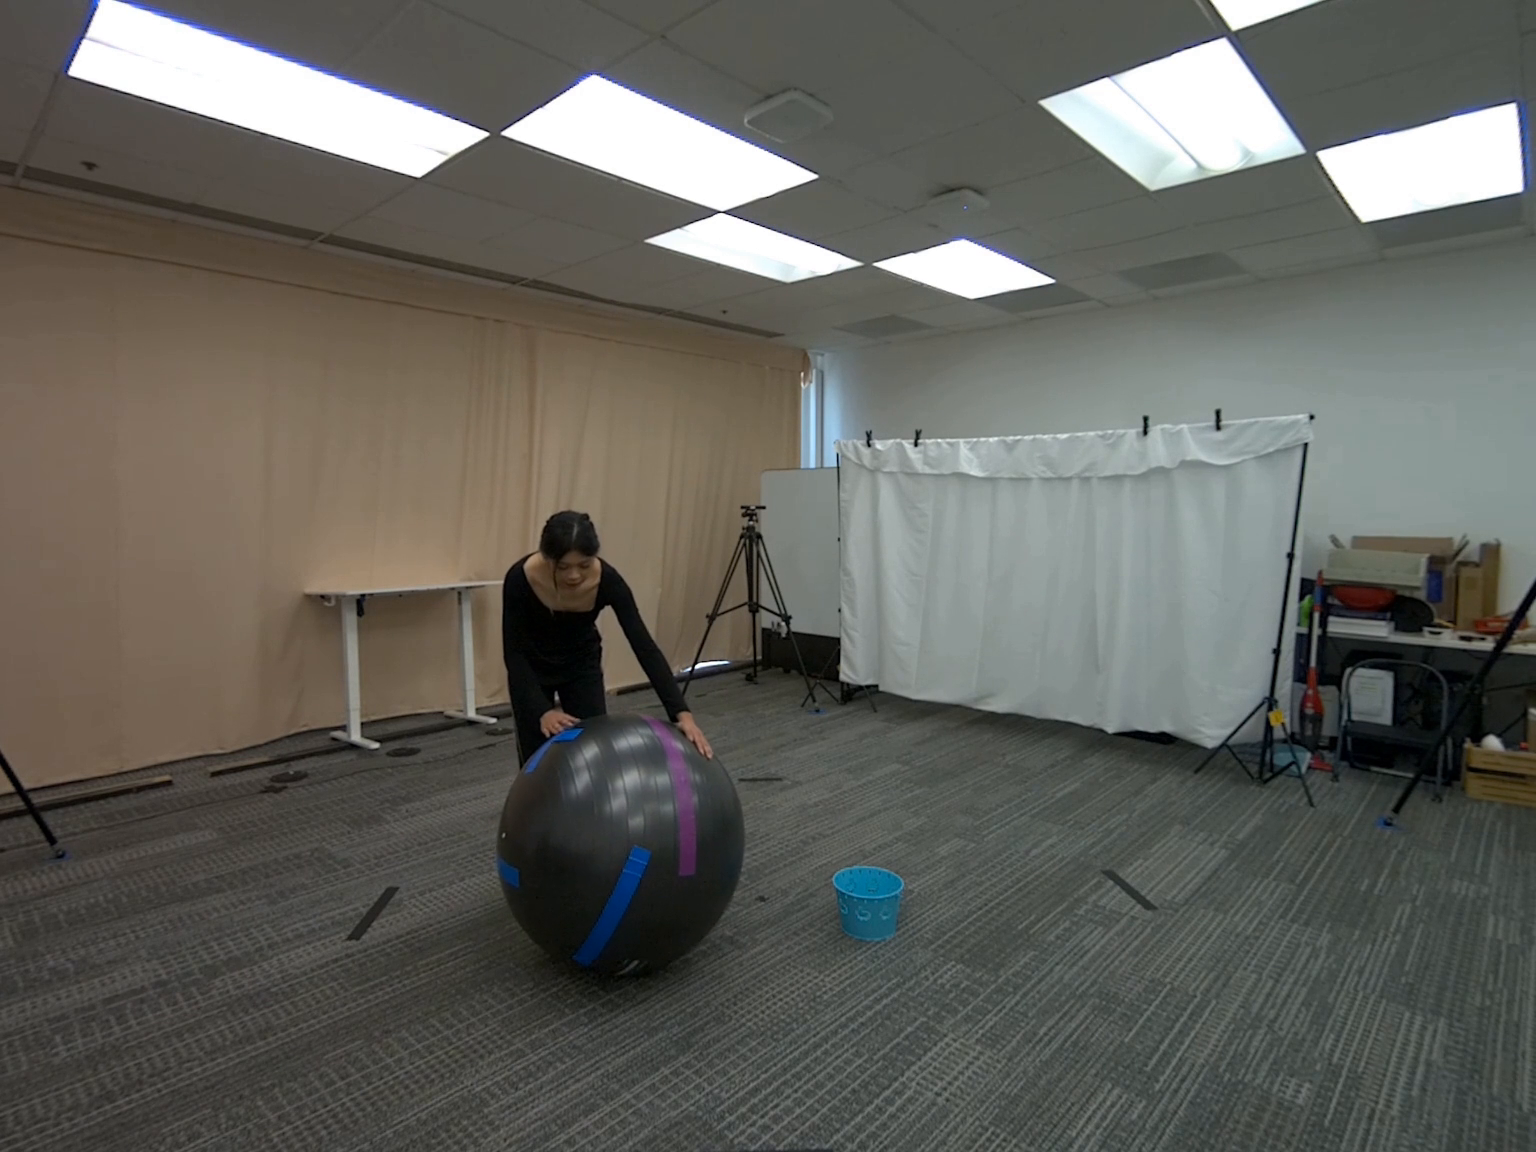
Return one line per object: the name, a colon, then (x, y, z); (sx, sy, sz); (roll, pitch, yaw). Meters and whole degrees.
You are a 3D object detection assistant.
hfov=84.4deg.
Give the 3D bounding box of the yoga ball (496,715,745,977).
yoga ball: (-0.446, 0.811, 2.595); (0.757, 0.756, 0.760); (0, 4, -2)
